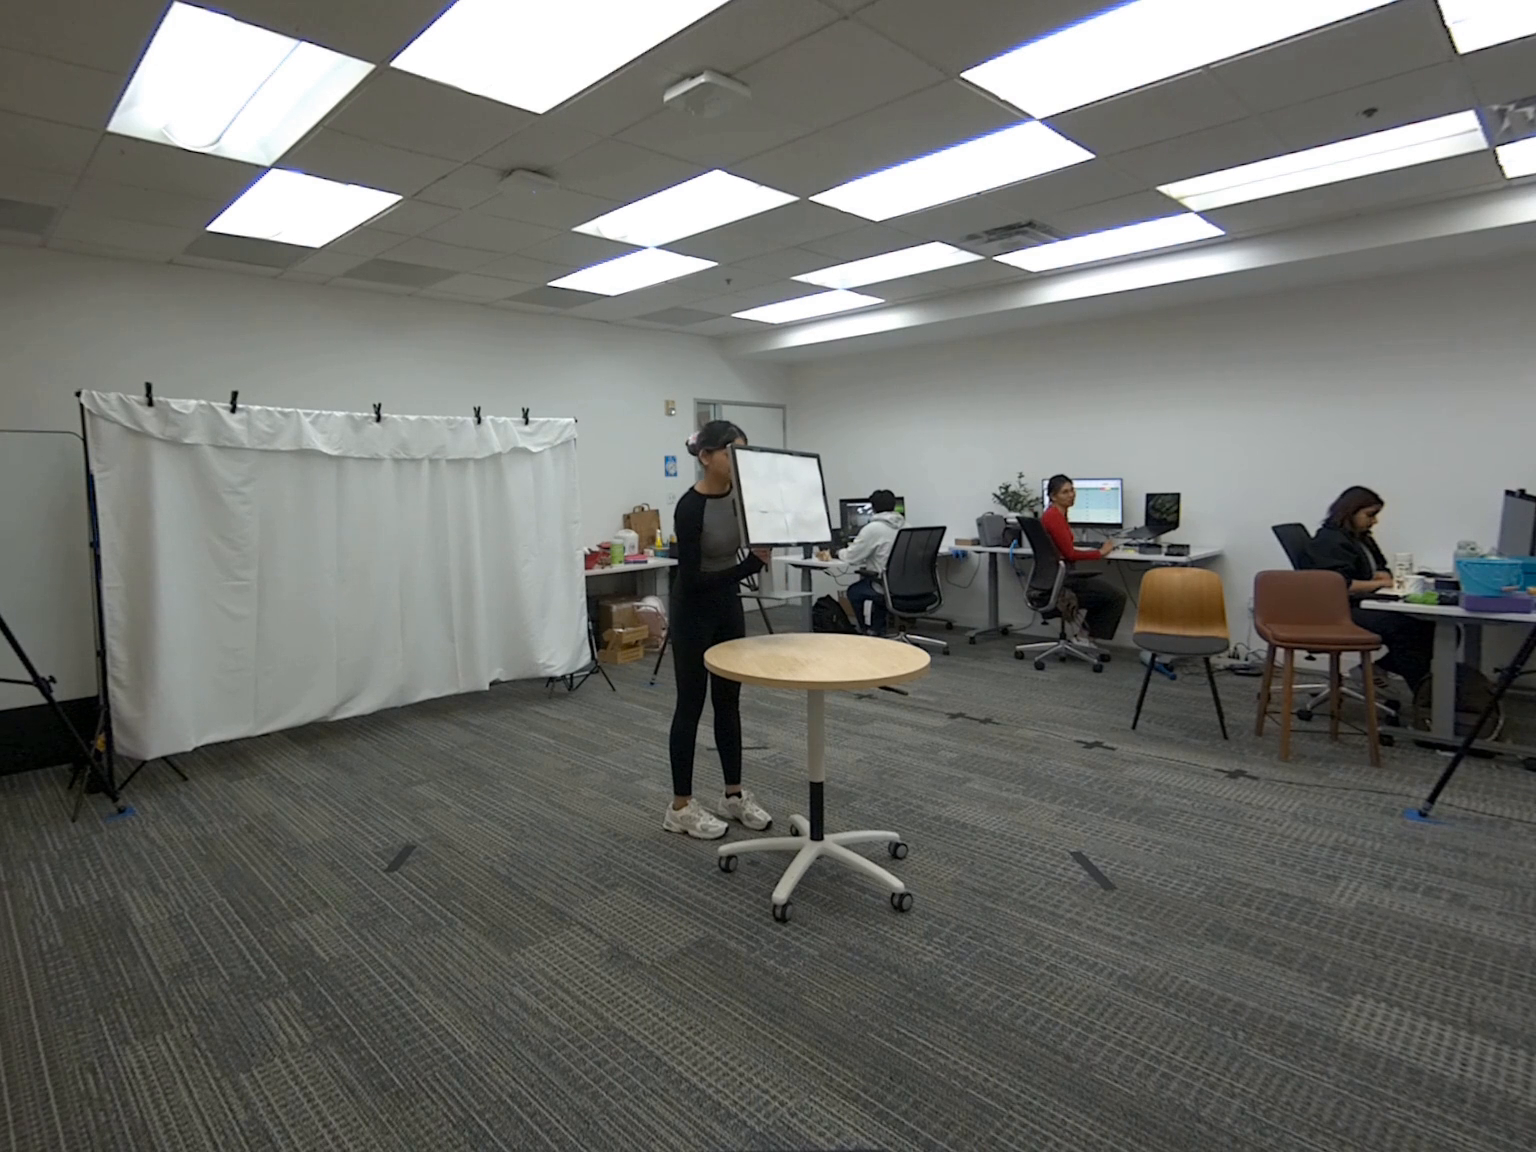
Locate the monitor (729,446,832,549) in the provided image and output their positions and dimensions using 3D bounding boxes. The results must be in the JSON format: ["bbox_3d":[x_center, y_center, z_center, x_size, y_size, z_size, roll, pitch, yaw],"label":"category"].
[{"bbox_3d":[0.029,-0.197,3.134,0.192,0.522,0.525,2,3,35],"label":"monitor"}]
